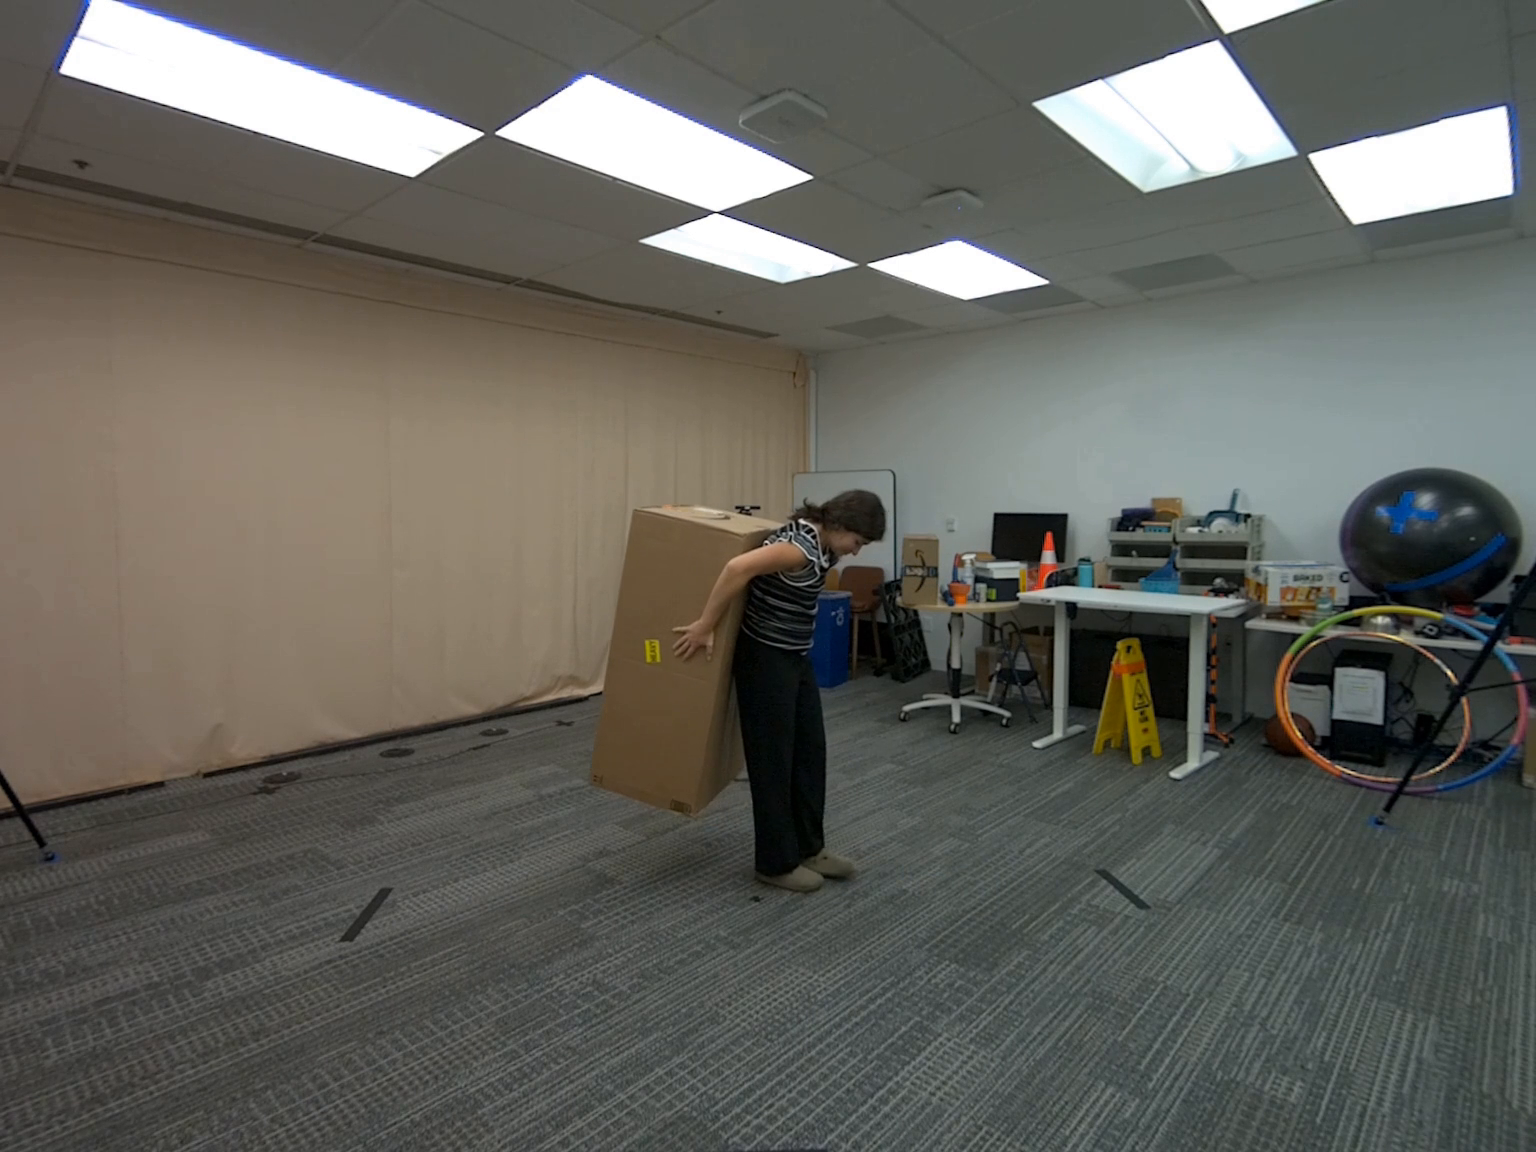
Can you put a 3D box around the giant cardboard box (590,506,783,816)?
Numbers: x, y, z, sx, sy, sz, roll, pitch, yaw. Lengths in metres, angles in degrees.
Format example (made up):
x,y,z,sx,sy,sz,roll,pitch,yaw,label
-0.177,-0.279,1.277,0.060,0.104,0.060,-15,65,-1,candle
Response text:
x,y,z,sx,sy,sz,roll,pitch,yaw,label
-0.282,0.281,3.195,0.435,1.022,0.567,13,9,17,giant cardboard box
